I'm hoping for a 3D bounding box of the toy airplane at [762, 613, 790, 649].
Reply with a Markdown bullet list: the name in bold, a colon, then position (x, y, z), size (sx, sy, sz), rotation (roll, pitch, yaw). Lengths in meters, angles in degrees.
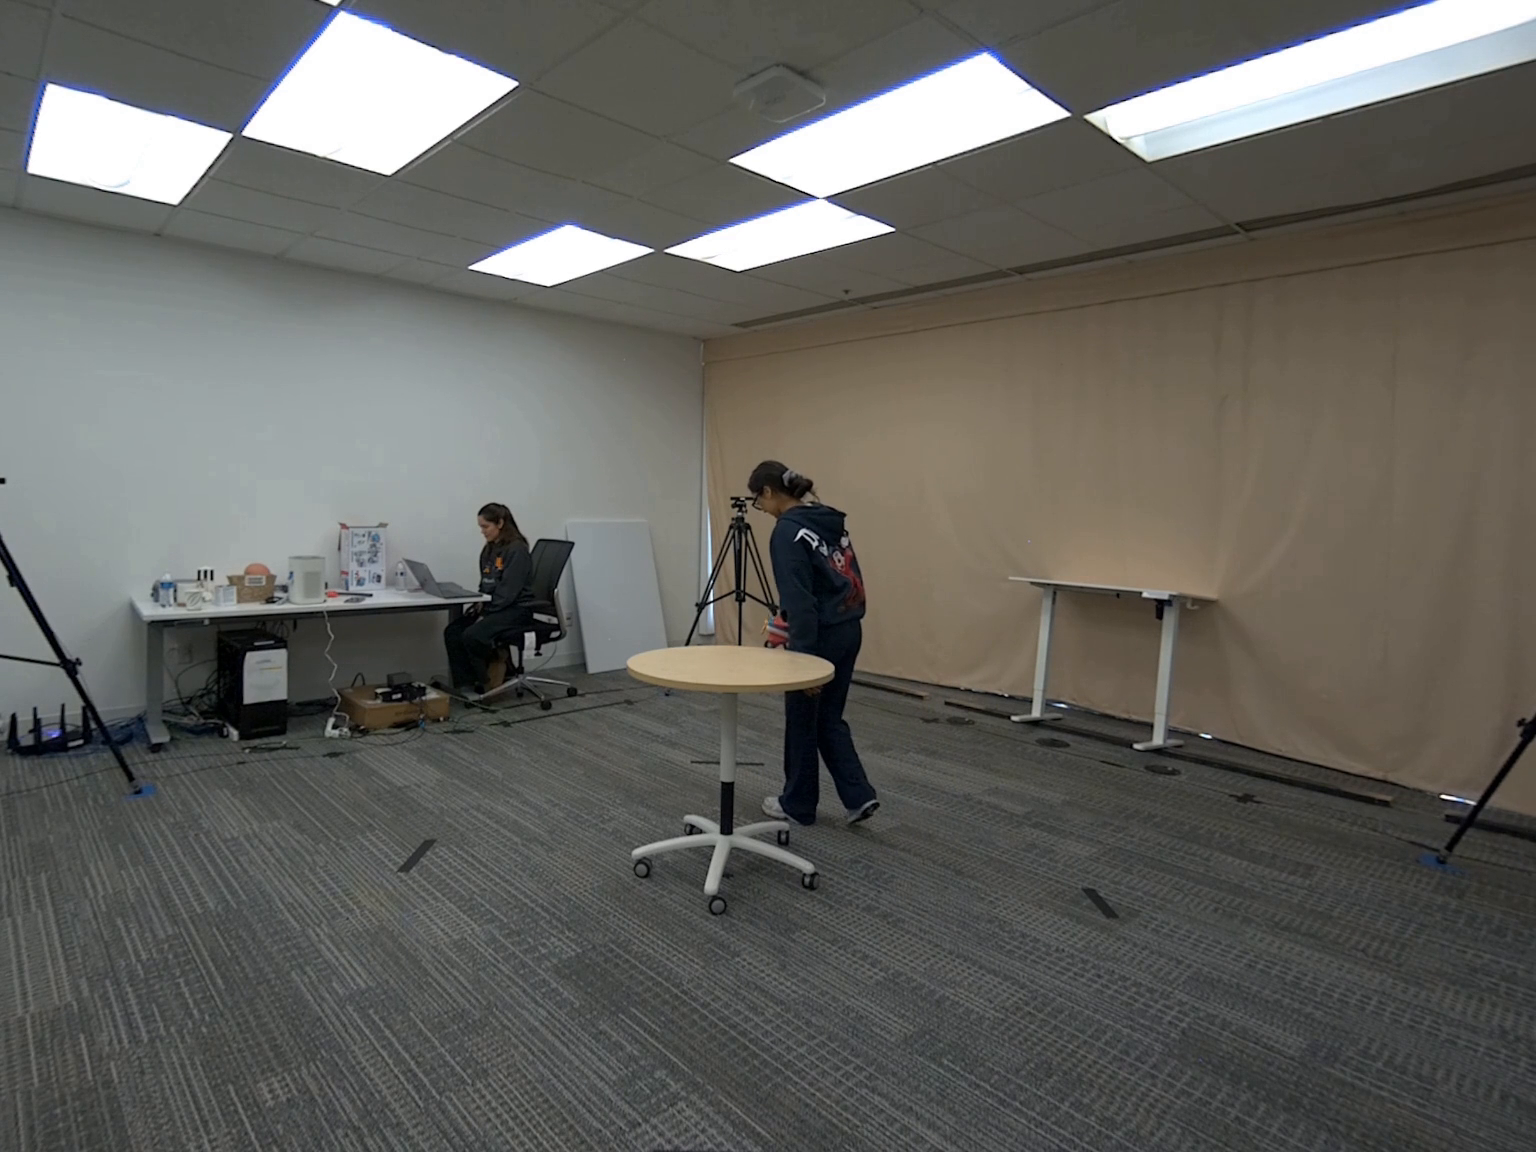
- **toy airplane**: position (0.098, 0.266, 3.903), size (0.256, 0.155, 0.255), rotation (1, 8, -14)
